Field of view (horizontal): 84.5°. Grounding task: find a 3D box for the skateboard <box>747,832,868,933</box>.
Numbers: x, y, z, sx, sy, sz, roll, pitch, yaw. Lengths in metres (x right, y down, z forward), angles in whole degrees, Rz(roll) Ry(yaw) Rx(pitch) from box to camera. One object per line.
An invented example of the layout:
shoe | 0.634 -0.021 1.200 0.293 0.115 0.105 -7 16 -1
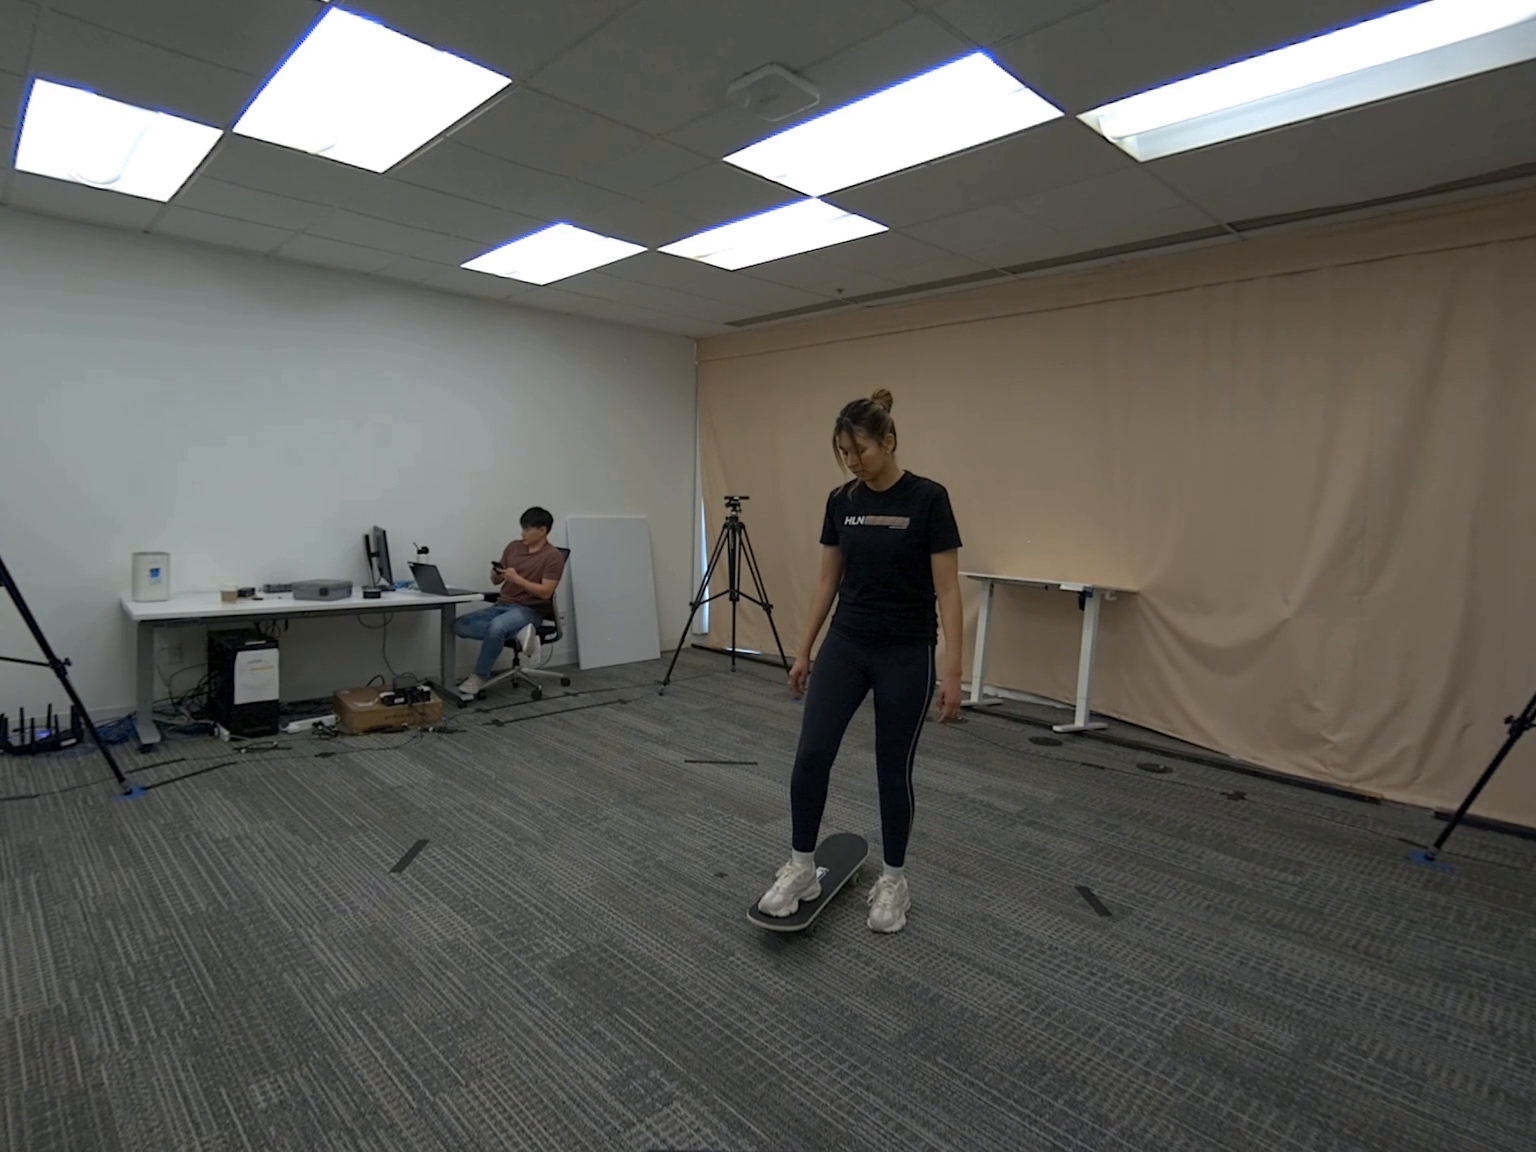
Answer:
skateboard | 0.144 1.076 2.887 0.197 0.110 0.772 4 7 25
